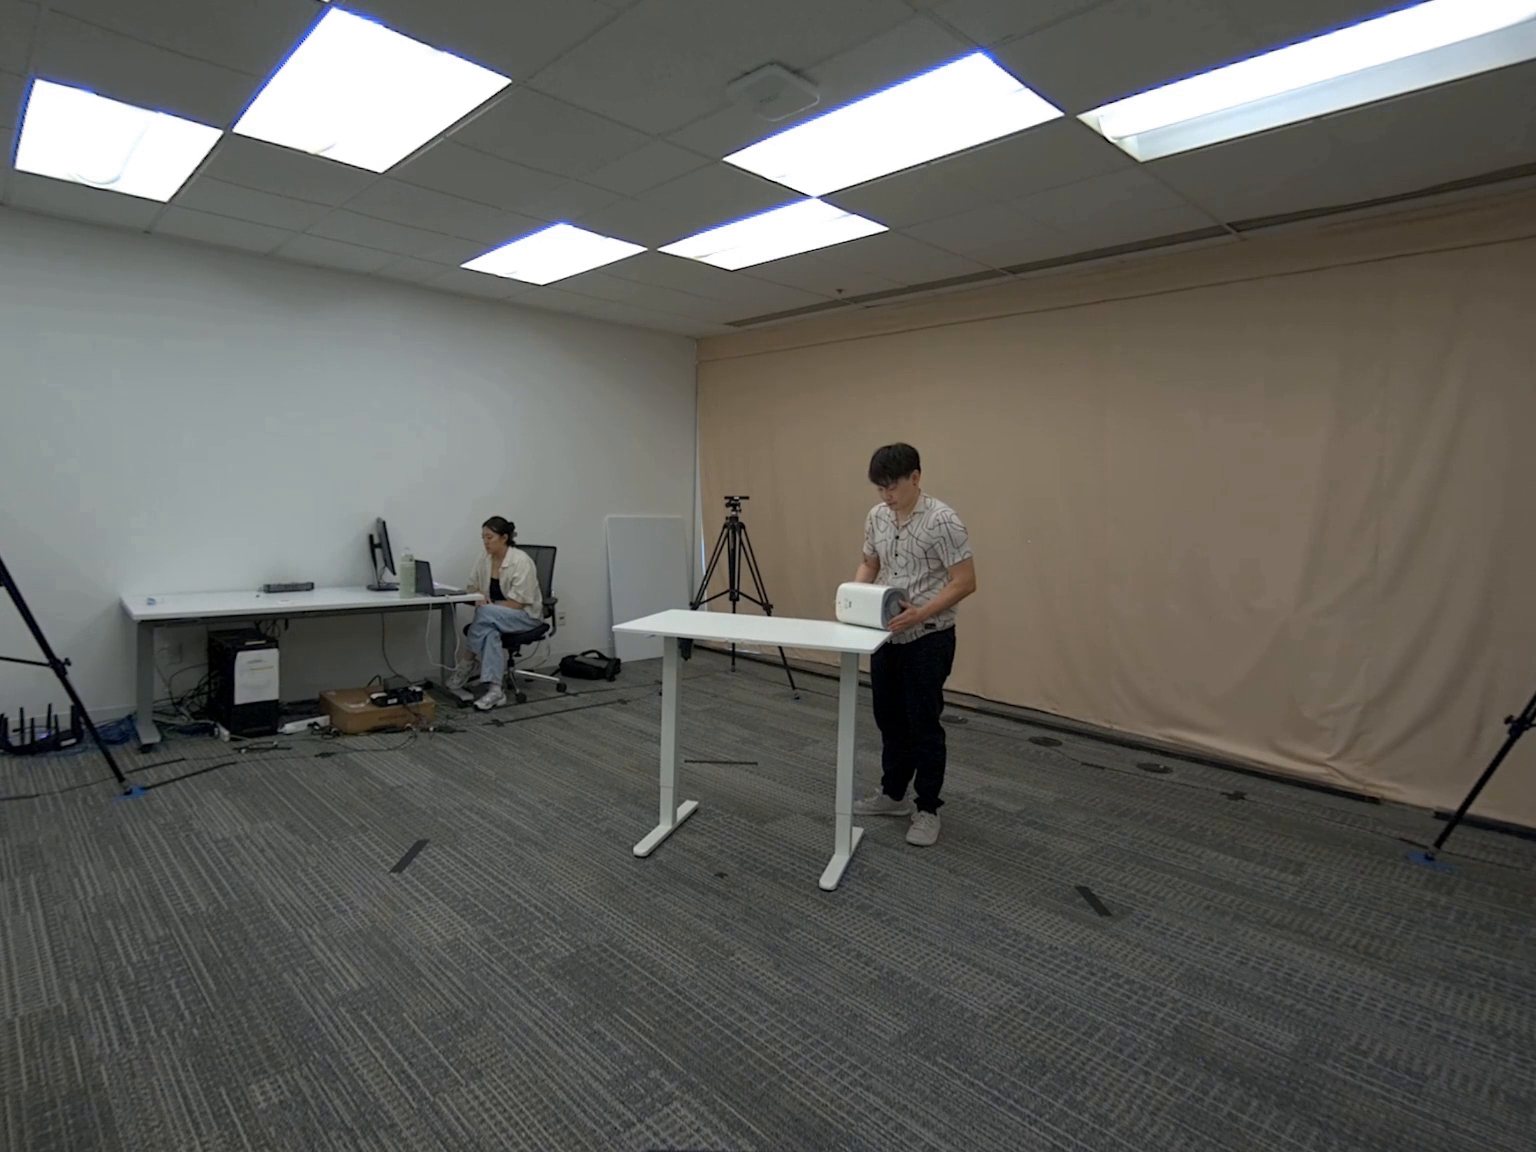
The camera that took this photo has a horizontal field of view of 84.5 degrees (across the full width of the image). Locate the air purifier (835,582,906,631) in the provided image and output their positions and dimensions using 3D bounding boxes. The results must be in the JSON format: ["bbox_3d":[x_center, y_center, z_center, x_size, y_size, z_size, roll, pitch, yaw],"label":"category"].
[{"bbox_3d":[0.417,0.117,3.442,0.272,0.171,0.167,4,3,44],"label":"air purifier"}]
